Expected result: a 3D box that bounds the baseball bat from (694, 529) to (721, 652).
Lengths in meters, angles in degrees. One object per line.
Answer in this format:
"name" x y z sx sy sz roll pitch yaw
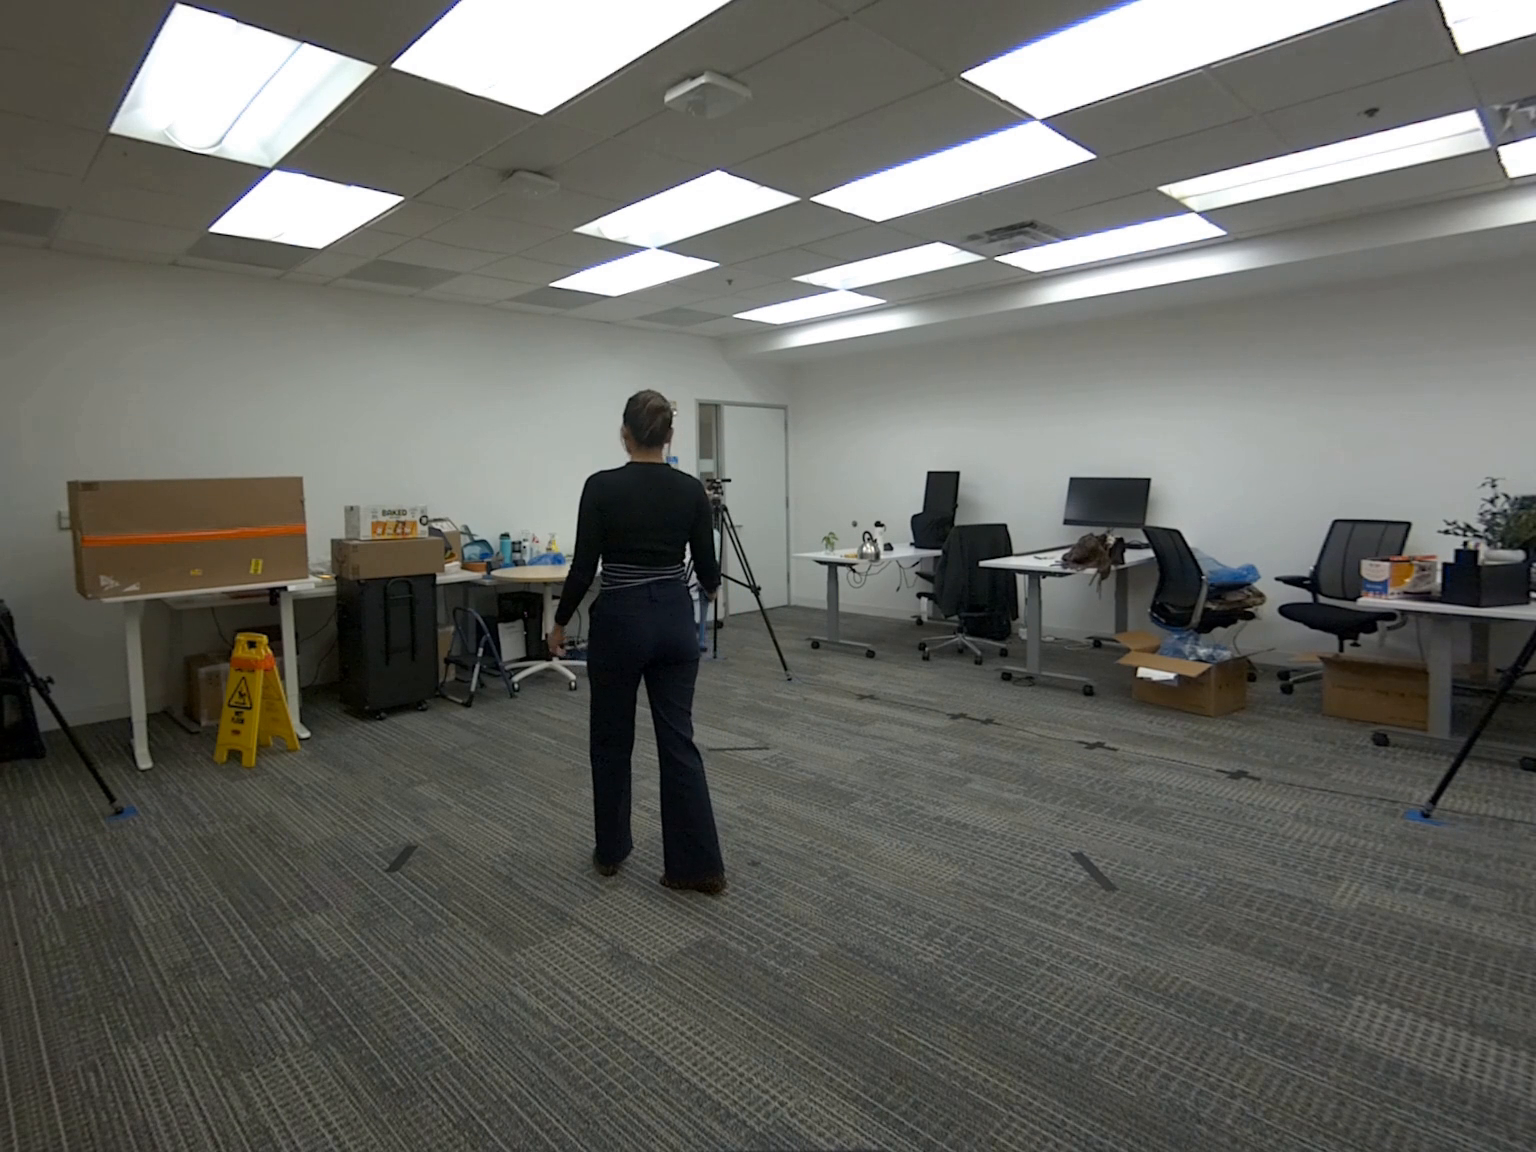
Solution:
"baseball bat" -0.253 0.033 3.331 0.089 0.556 0.087 2 -36 0
